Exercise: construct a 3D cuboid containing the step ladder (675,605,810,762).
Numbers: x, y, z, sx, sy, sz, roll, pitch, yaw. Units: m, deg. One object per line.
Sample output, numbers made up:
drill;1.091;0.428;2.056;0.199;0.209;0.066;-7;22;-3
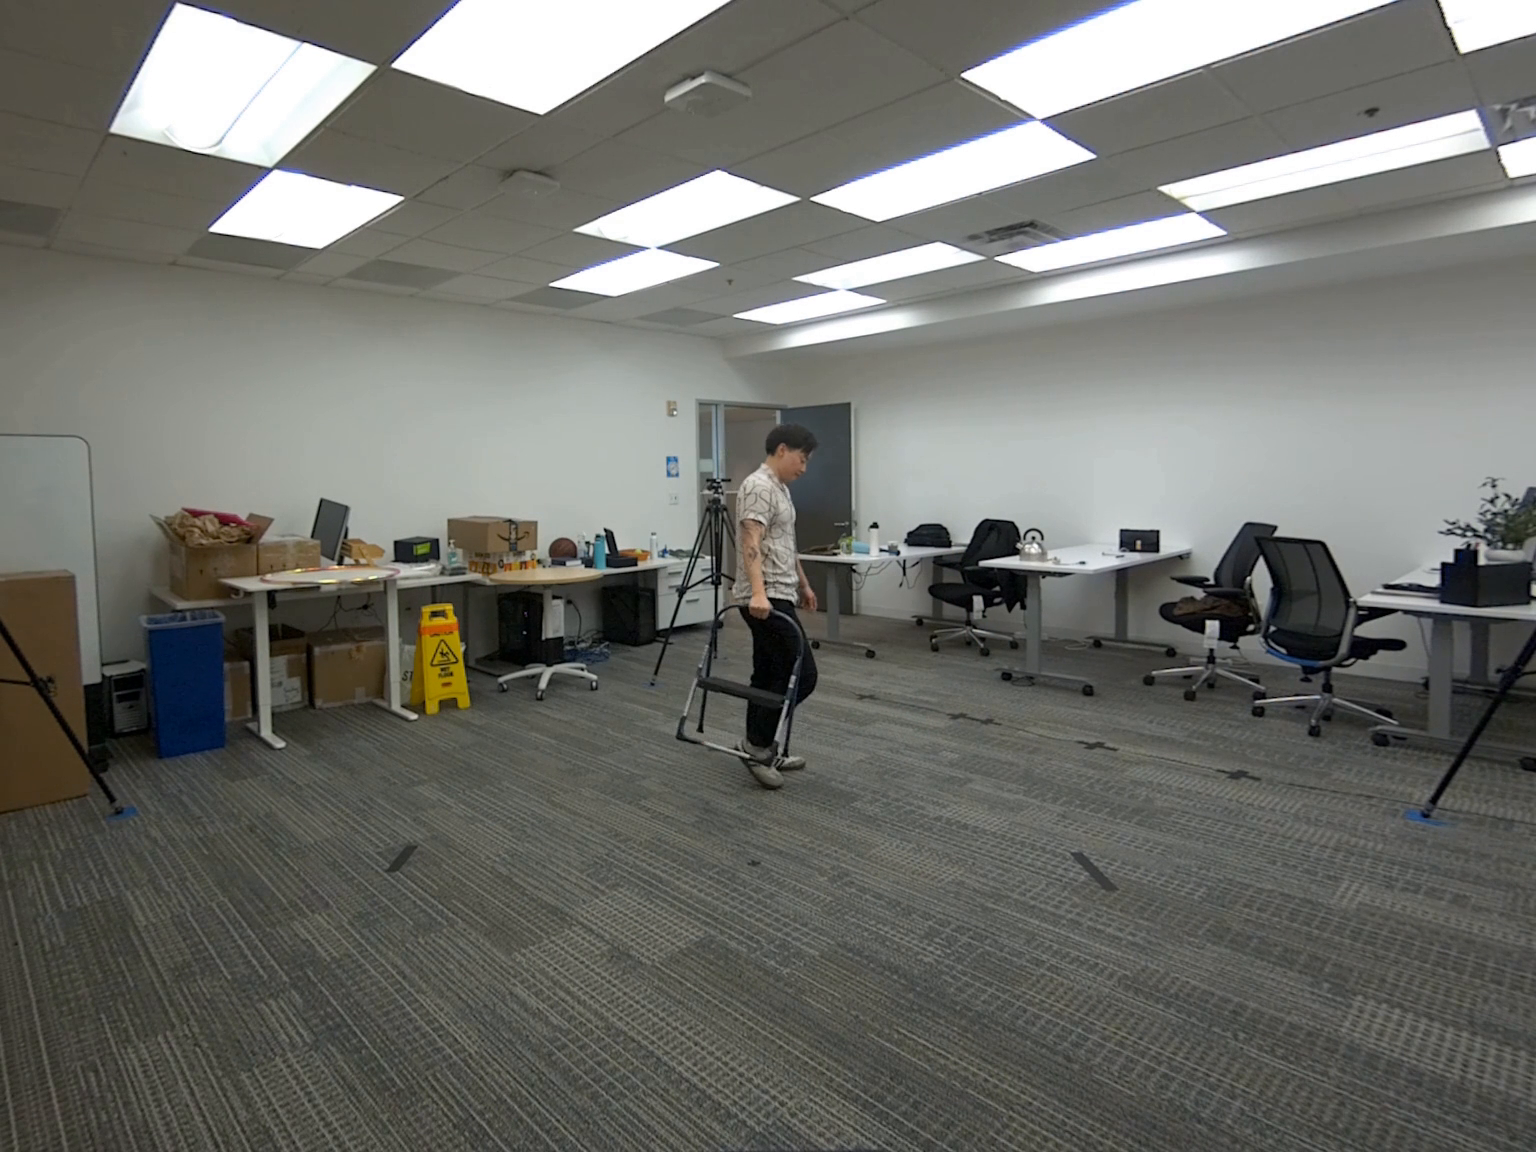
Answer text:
step ladder;-0.078;0.437;3.617;0.438;0.607;0.342;11;-3;15
